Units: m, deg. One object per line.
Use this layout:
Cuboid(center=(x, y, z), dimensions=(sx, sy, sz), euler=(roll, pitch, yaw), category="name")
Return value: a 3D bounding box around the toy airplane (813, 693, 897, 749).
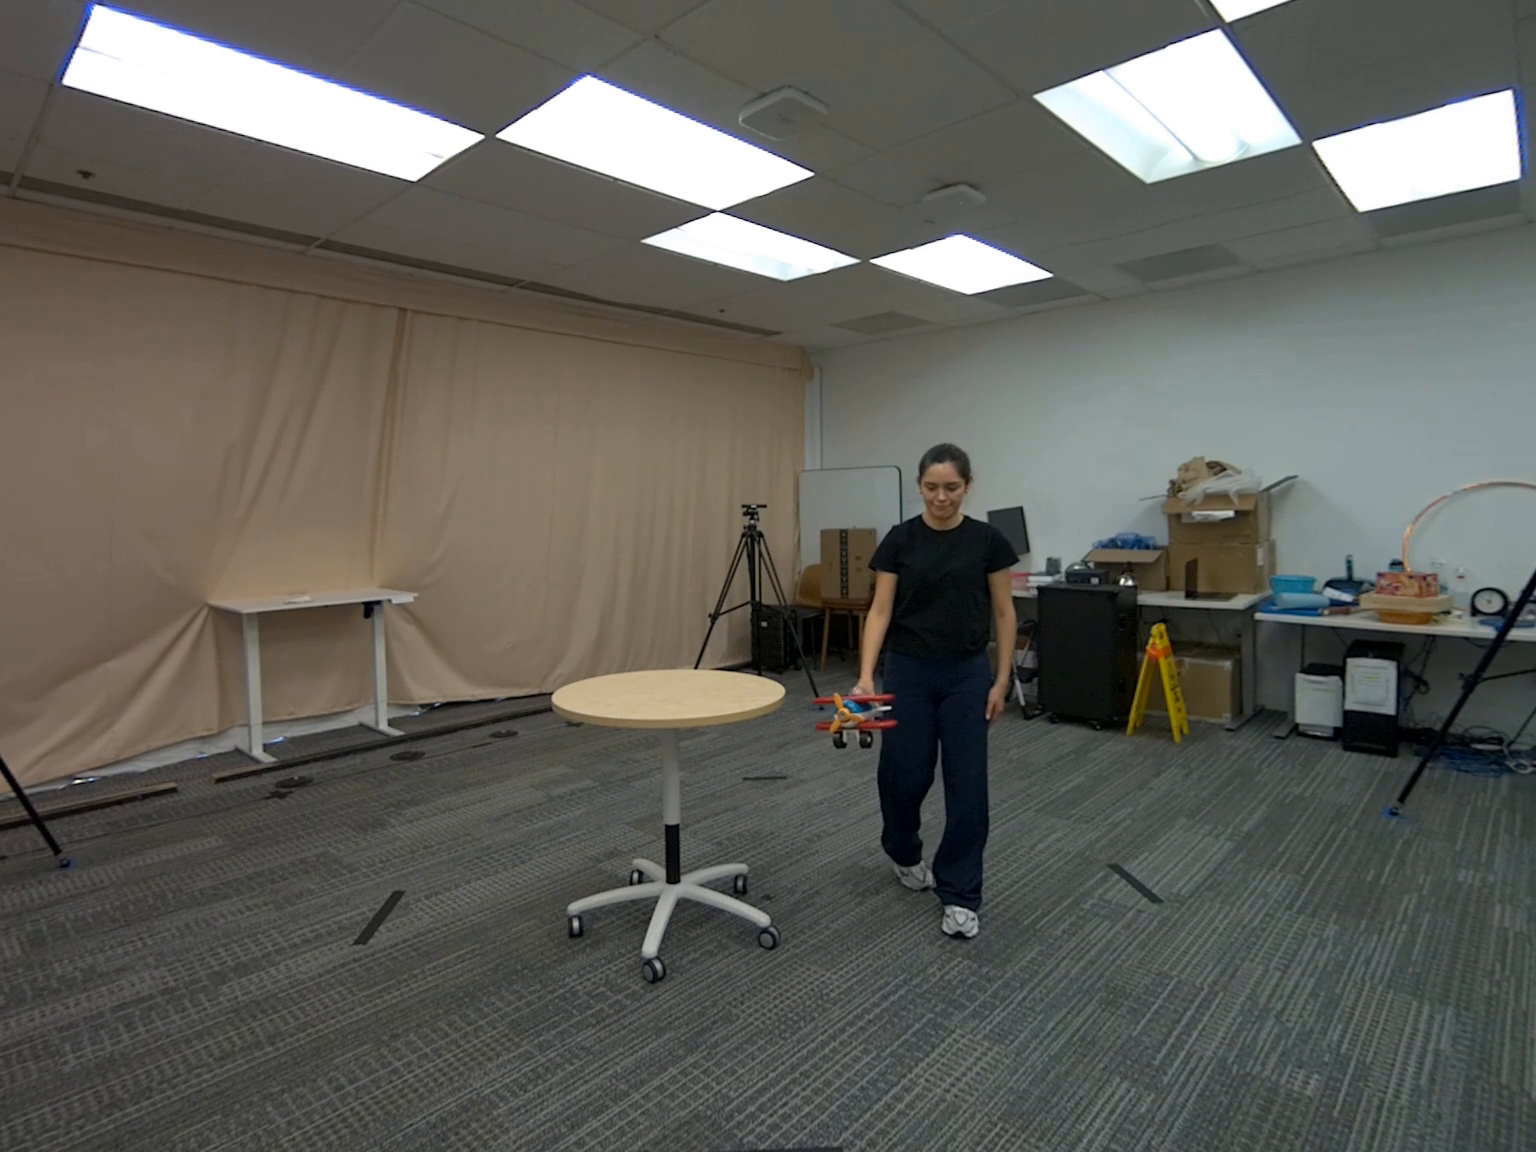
Cuboid(center=(0.289, 0.434, 2.612), dimensions=(0.252, 0.155, 0.260), euler=(-11, 7, 2), category="toy airplane")
